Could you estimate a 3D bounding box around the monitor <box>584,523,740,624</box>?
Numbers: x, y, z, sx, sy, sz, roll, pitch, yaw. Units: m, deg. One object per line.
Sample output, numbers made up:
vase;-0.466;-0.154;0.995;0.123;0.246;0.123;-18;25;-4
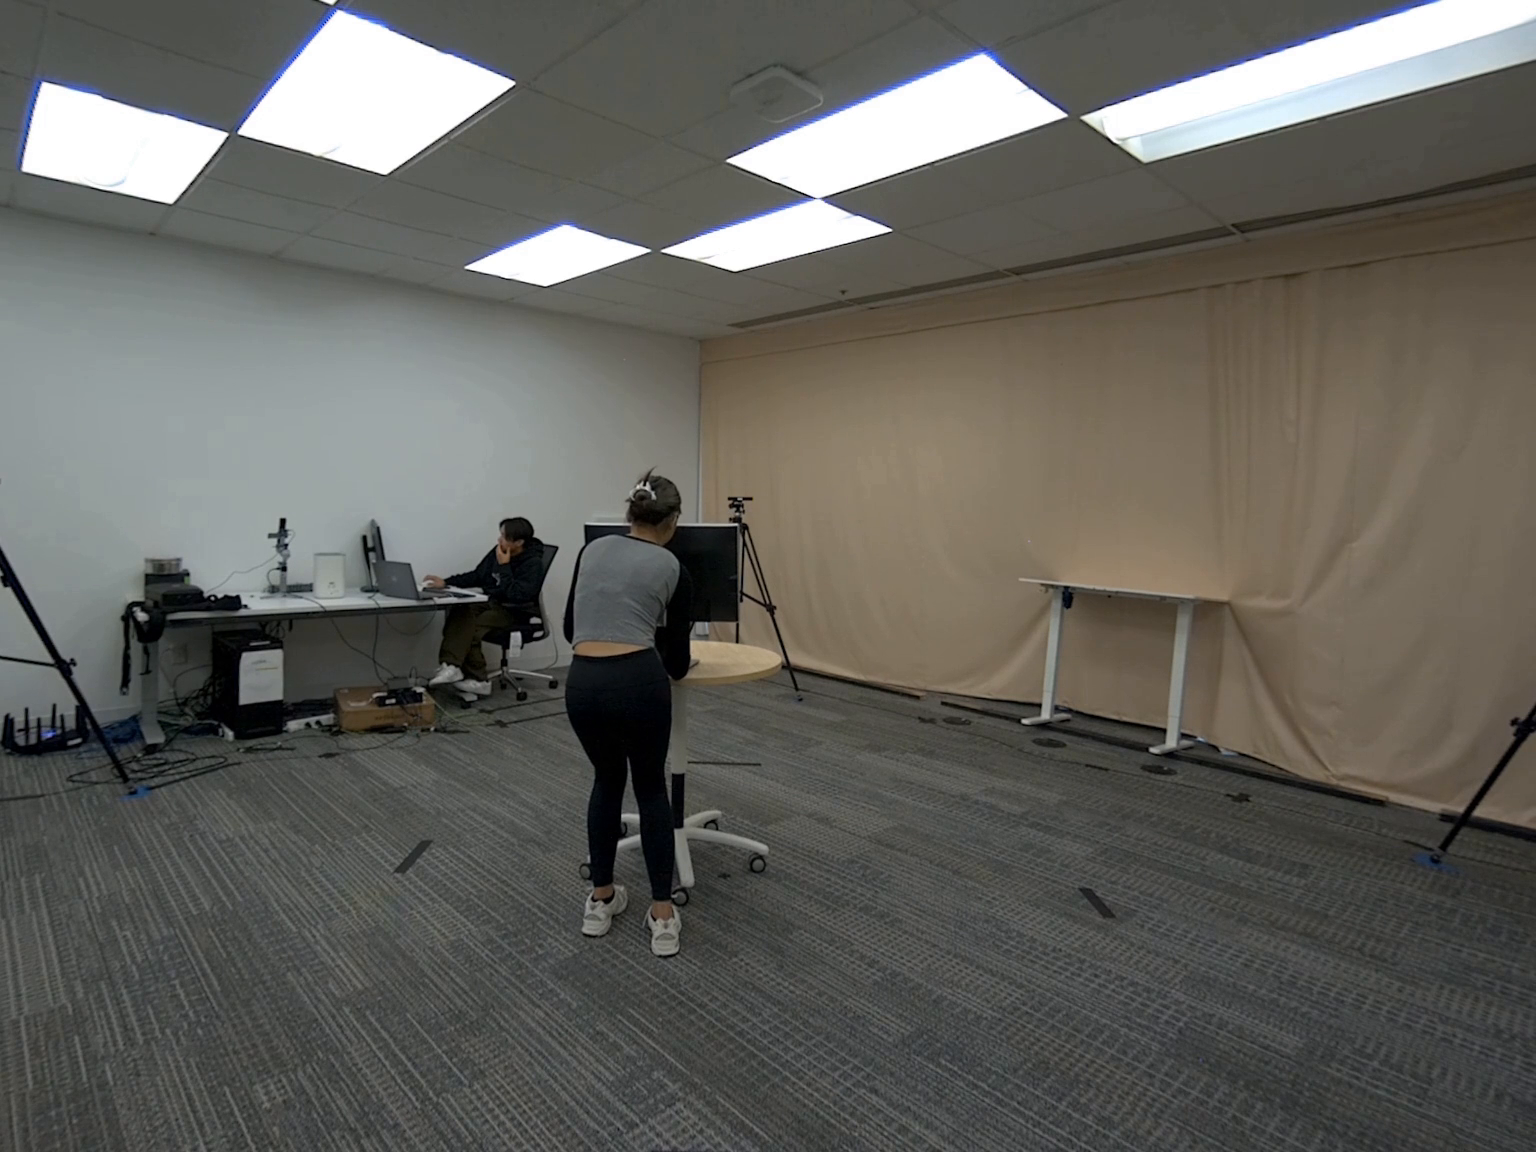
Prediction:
monitor;-0.379;0.076;2.994;0.541;0.522;0.187;0;2;4
